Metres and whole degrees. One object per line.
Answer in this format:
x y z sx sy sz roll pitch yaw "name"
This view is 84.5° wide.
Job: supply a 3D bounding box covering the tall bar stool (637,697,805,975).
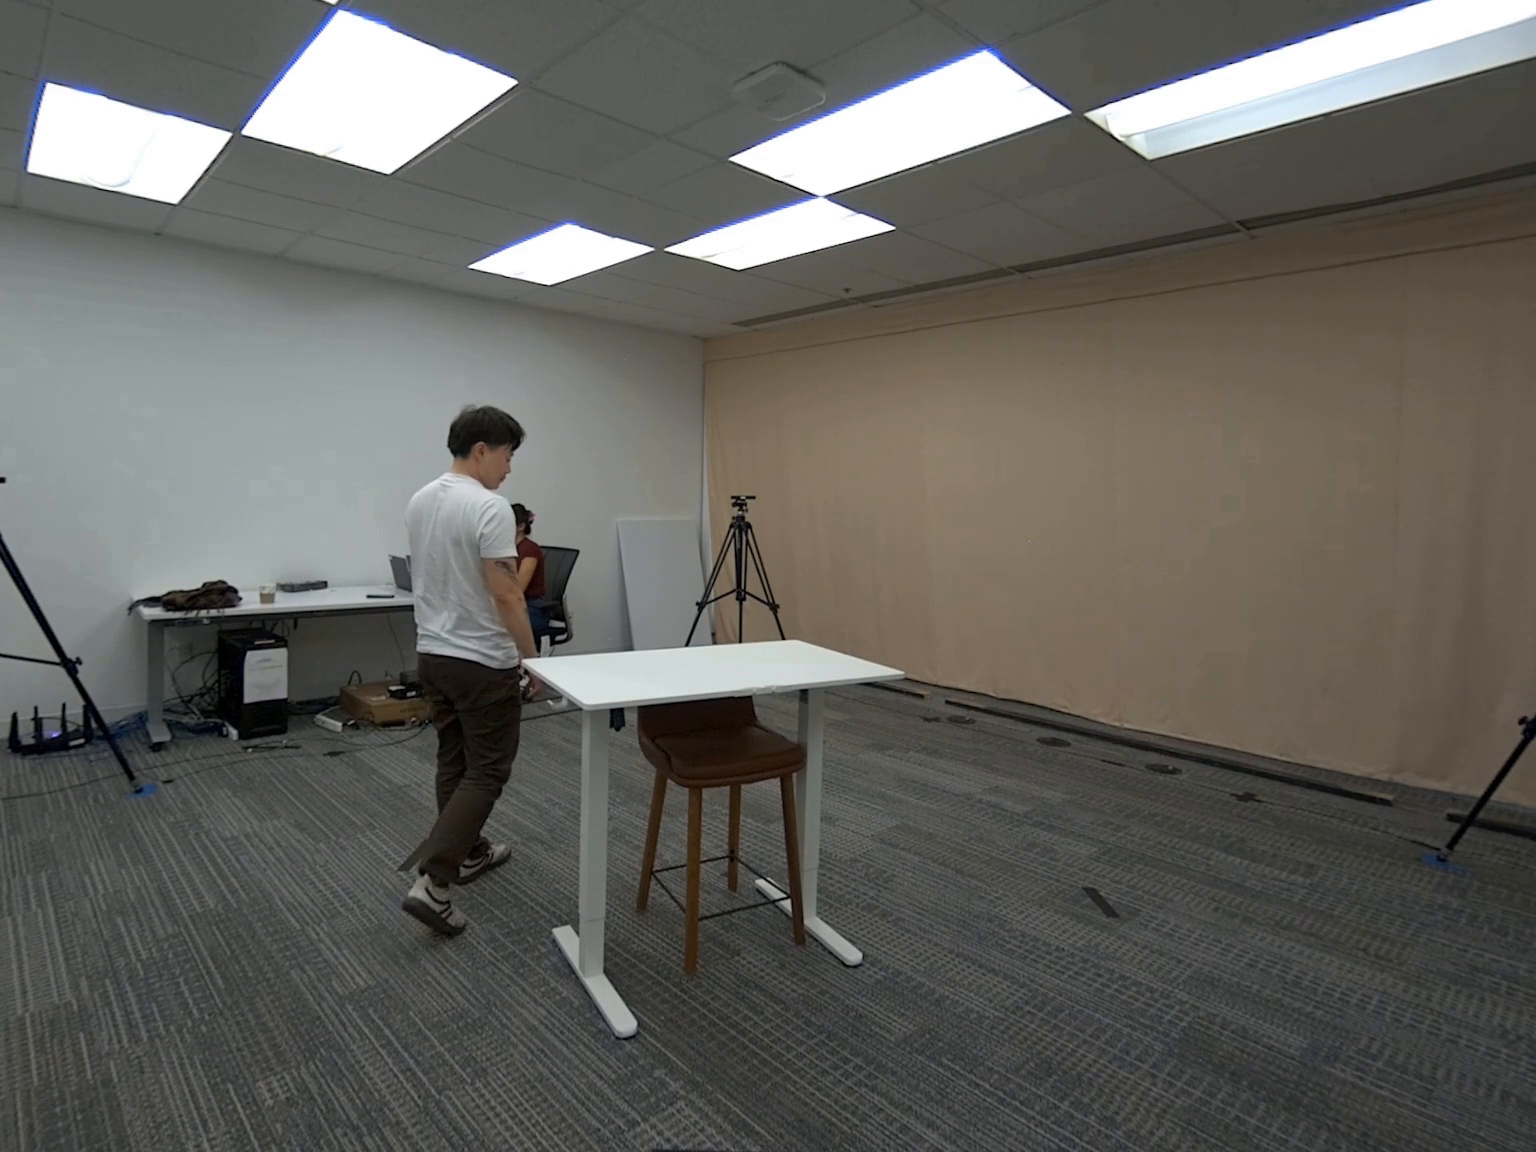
-0.175 0.711 2.705 0.448 0.889 0.477 -2 2 -29 "tall bar stool"
